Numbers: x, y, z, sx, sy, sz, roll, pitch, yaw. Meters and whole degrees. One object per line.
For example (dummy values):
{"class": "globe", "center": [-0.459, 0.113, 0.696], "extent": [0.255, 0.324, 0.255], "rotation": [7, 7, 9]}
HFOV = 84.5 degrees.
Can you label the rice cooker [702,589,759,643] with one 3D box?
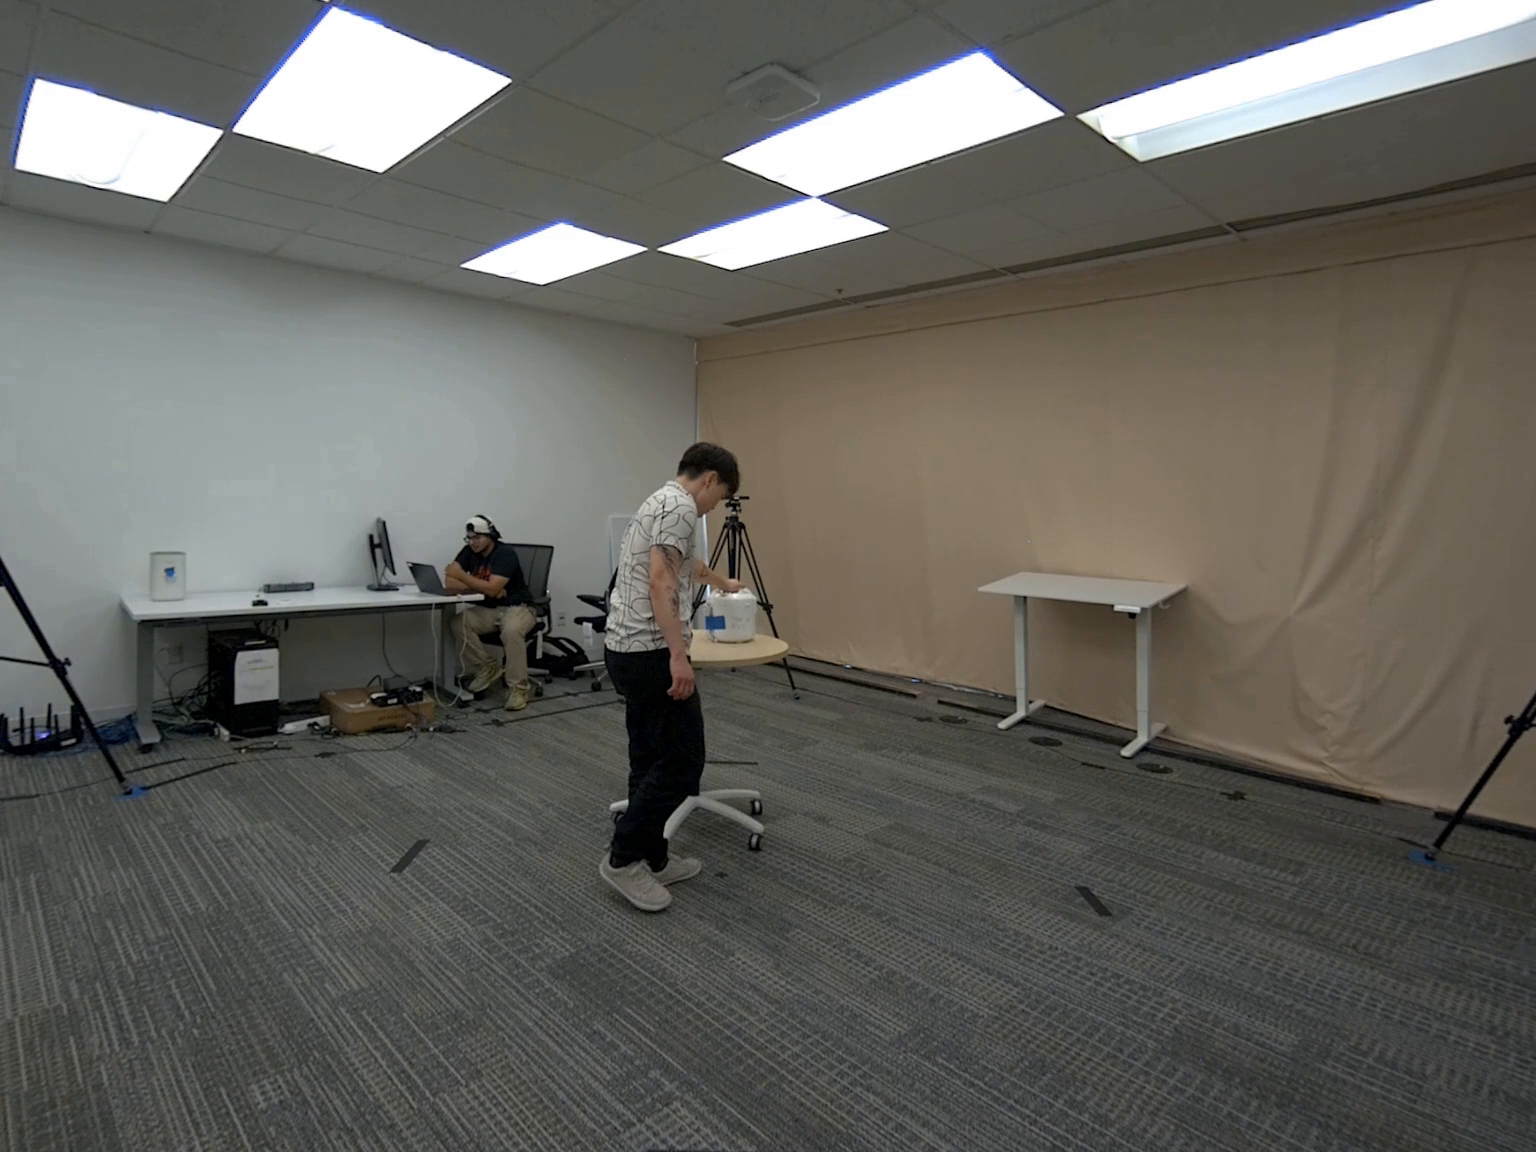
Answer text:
{"class": "rice cooker", "center": [-0.169, 0.157, 3.622], "extent": [0.223, 0.232, 0.216], "rotation": [3, 6, 12]}
